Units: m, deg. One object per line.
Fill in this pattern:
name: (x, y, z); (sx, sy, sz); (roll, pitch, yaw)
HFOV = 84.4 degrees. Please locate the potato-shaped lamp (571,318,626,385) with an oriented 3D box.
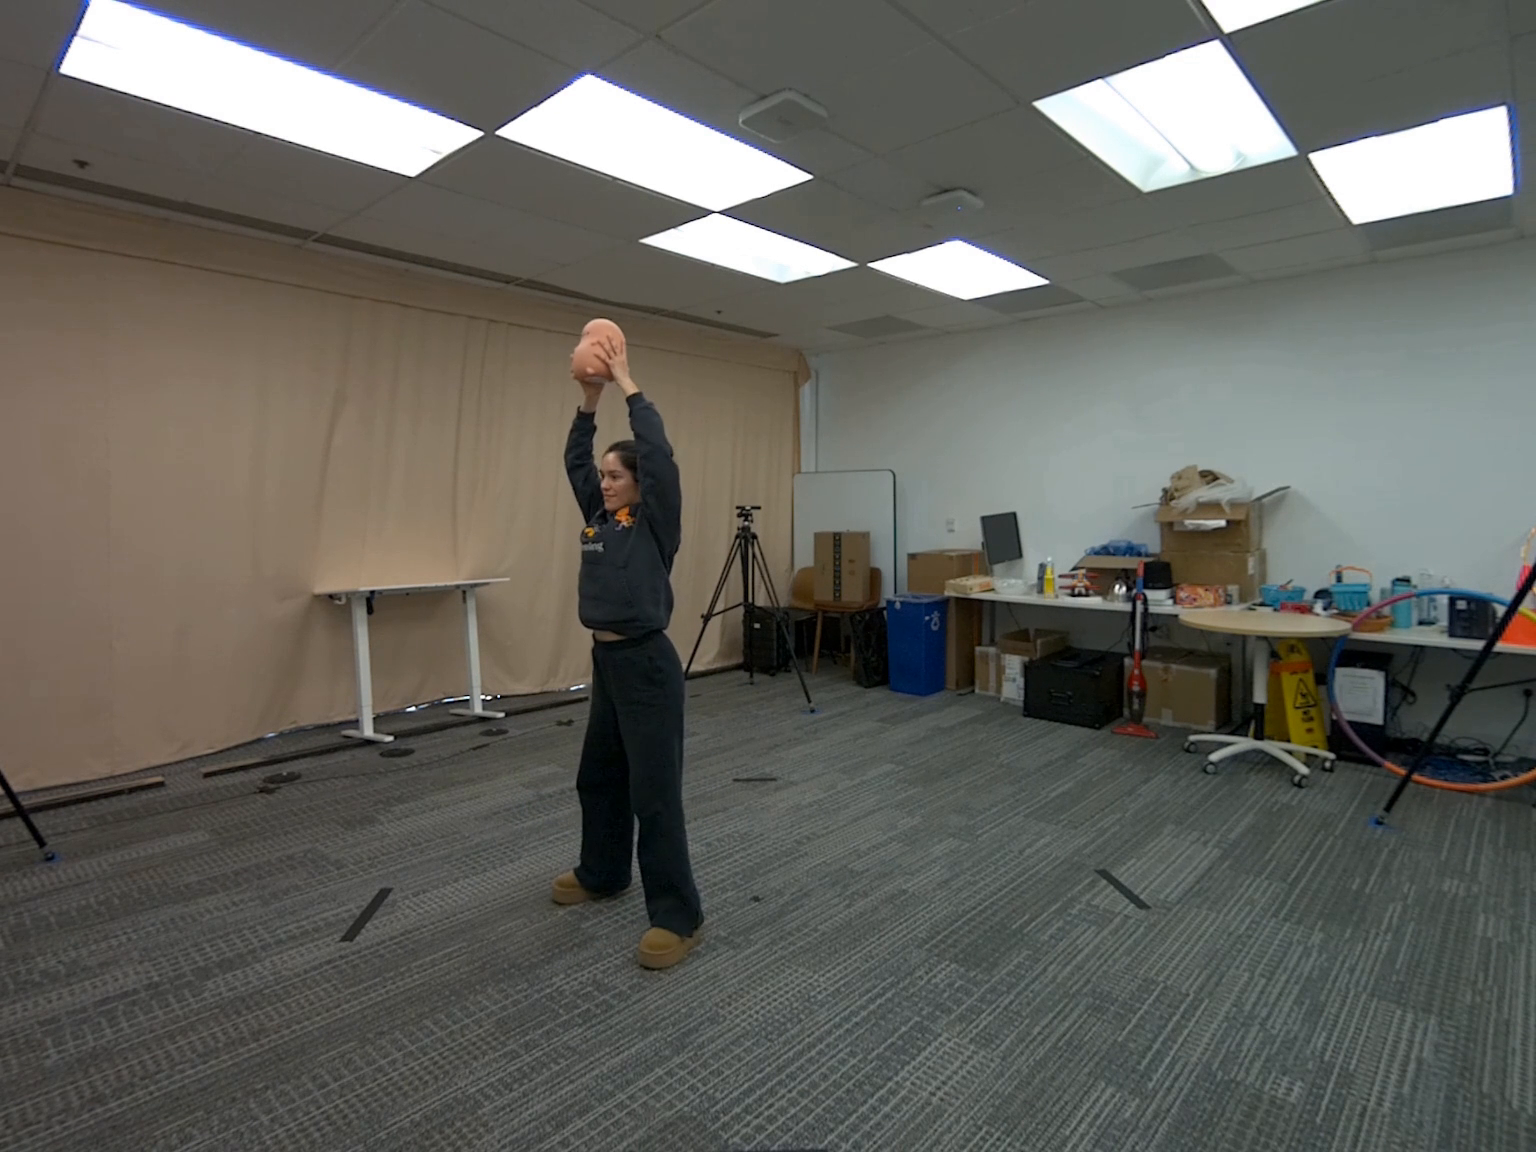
potato-shaped lamp: (-0.543, -0.712, 2.701); (0.166, 0.198, 0.170); (1, 1, -37)
